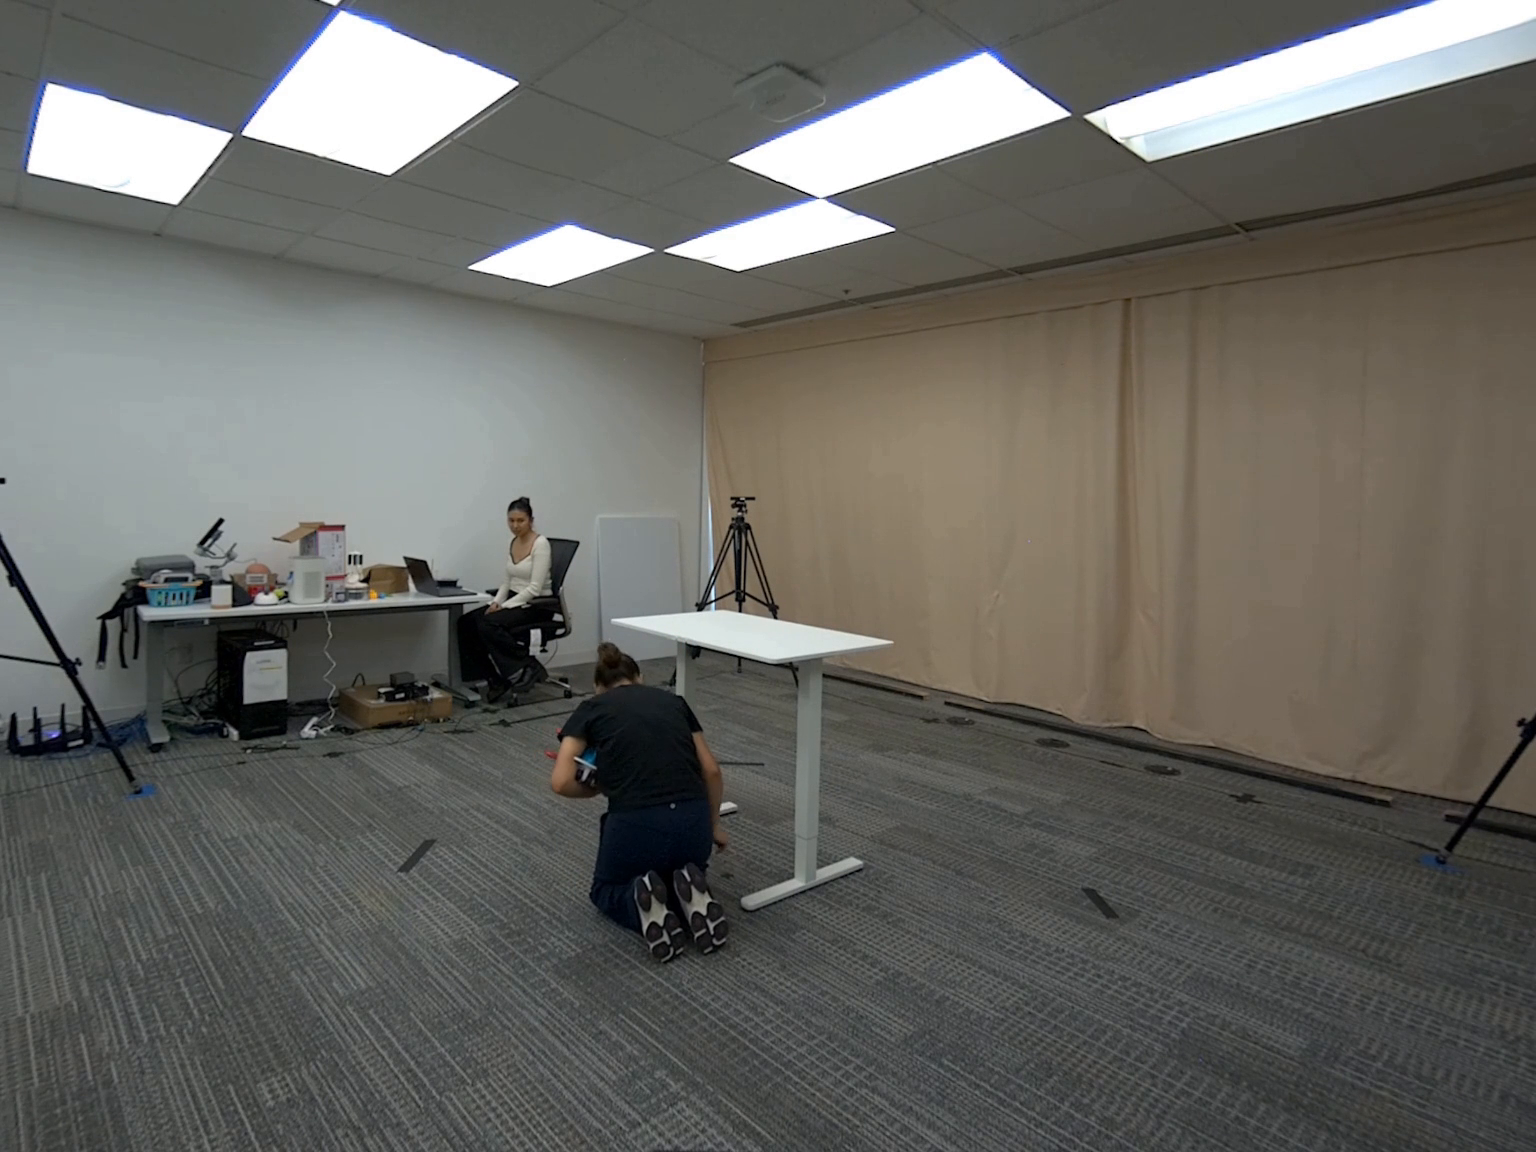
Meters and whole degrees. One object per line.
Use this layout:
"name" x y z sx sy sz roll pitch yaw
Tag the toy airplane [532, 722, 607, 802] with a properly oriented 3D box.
"toy airplane" -0.592 0.631 2.836 0.265 0.158 0.243 -2 -34 43
